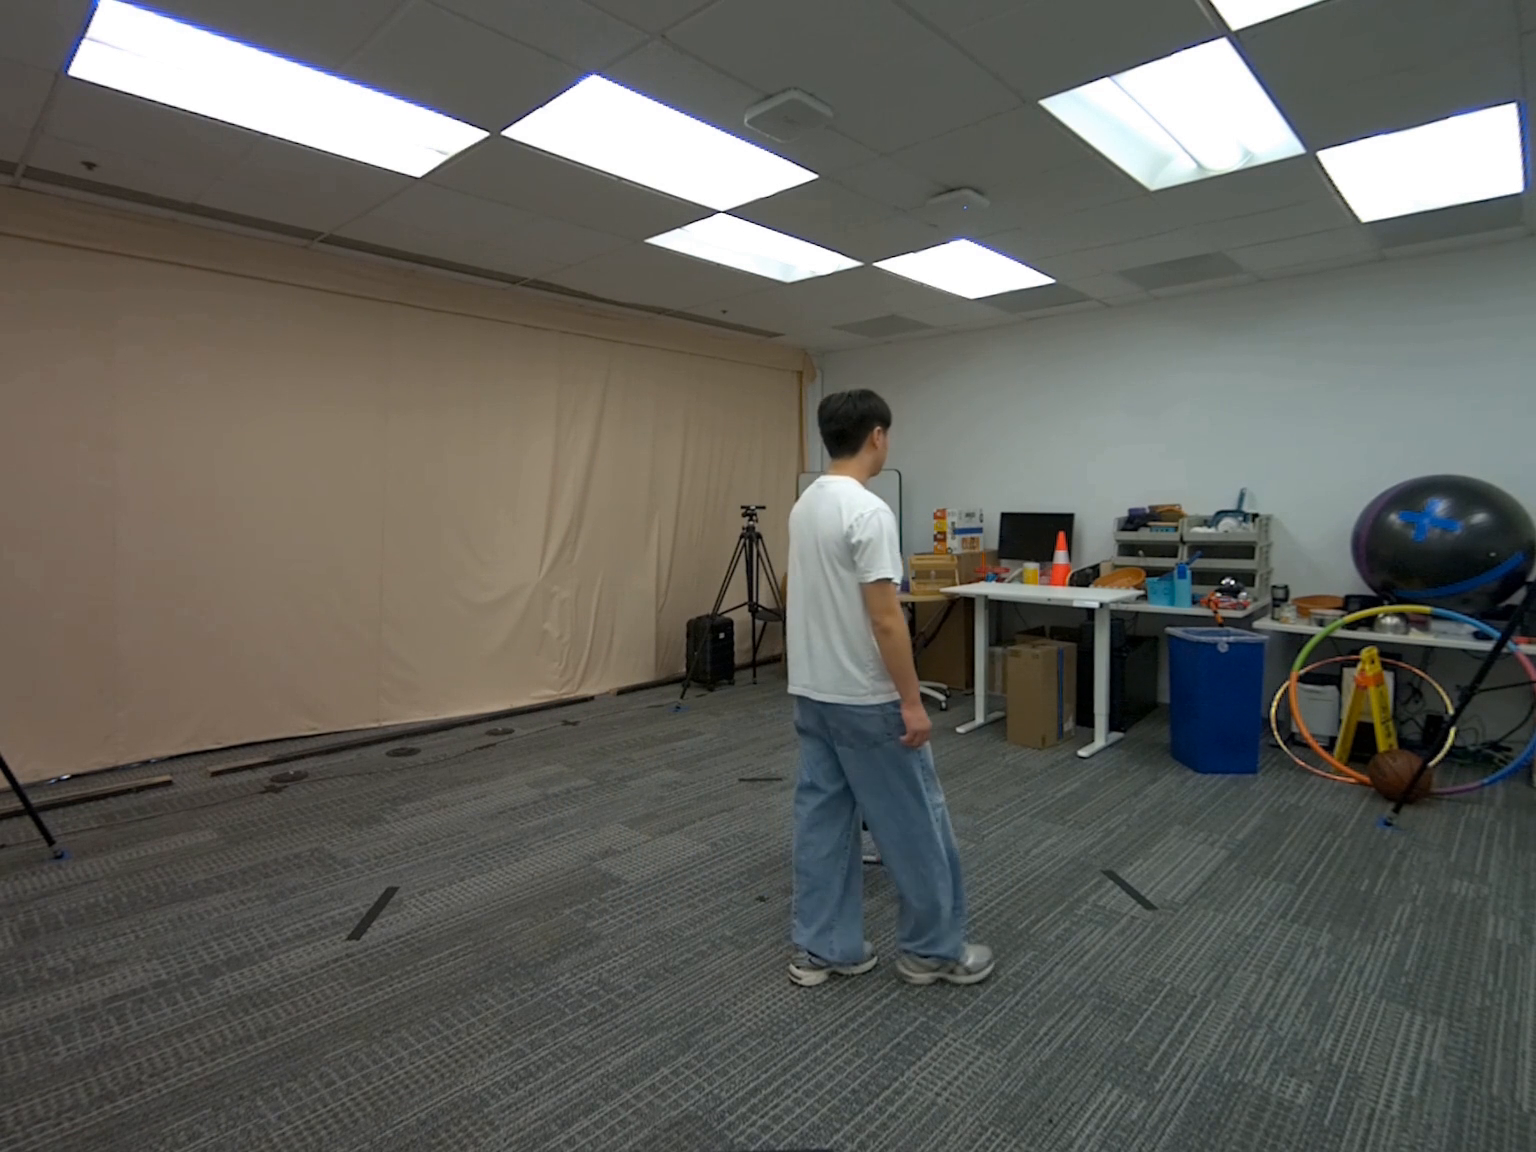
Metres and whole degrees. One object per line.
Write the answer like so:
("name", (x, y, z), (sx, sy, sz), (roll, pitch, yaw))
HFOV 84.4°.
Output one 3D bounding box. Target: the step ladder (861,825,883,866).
("step ladder", (0.330, 0.827, 3.121), (0.436, 0.605, 0.346), (1, 3, 10))
